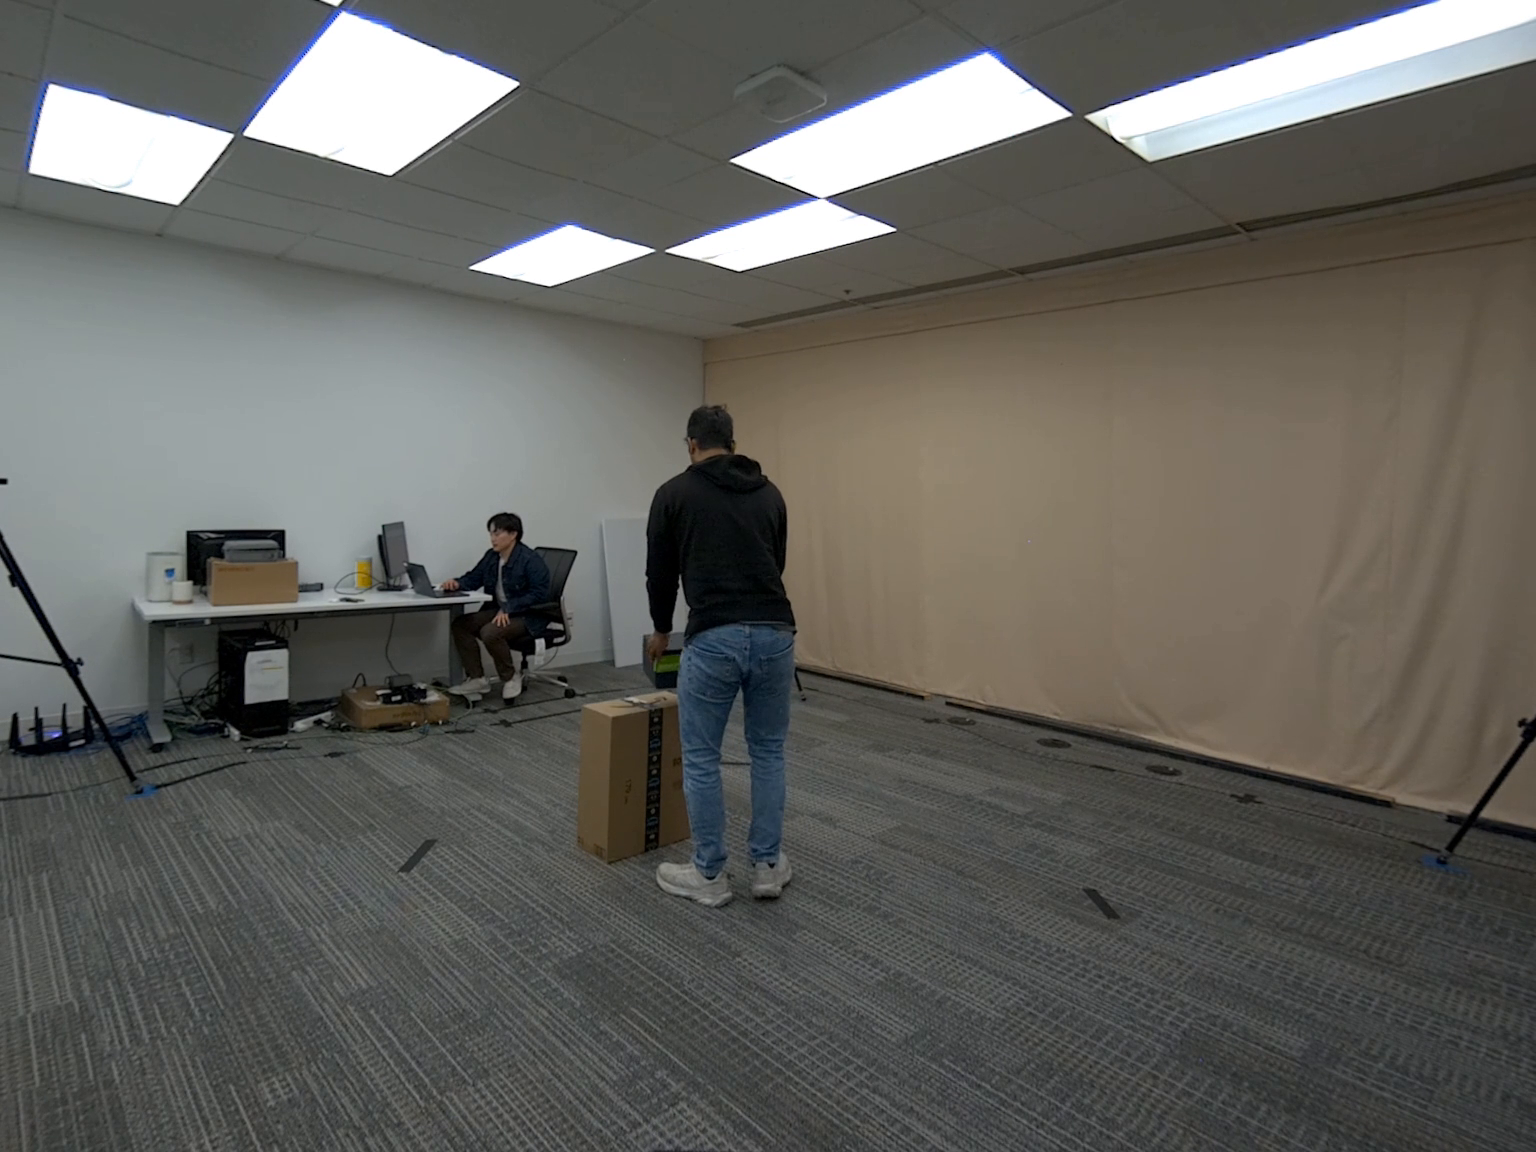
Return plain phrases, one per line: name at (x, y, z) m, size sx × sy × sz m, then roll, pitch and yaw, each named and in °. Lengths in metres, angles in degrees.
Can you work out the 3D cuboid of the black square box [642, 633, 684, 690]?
black square box at (-0.361, 0.344, 3.347) m, size 0.224 × 0.154 × 0.222 m, roll -2°, pitch 13°, yaw -20°
